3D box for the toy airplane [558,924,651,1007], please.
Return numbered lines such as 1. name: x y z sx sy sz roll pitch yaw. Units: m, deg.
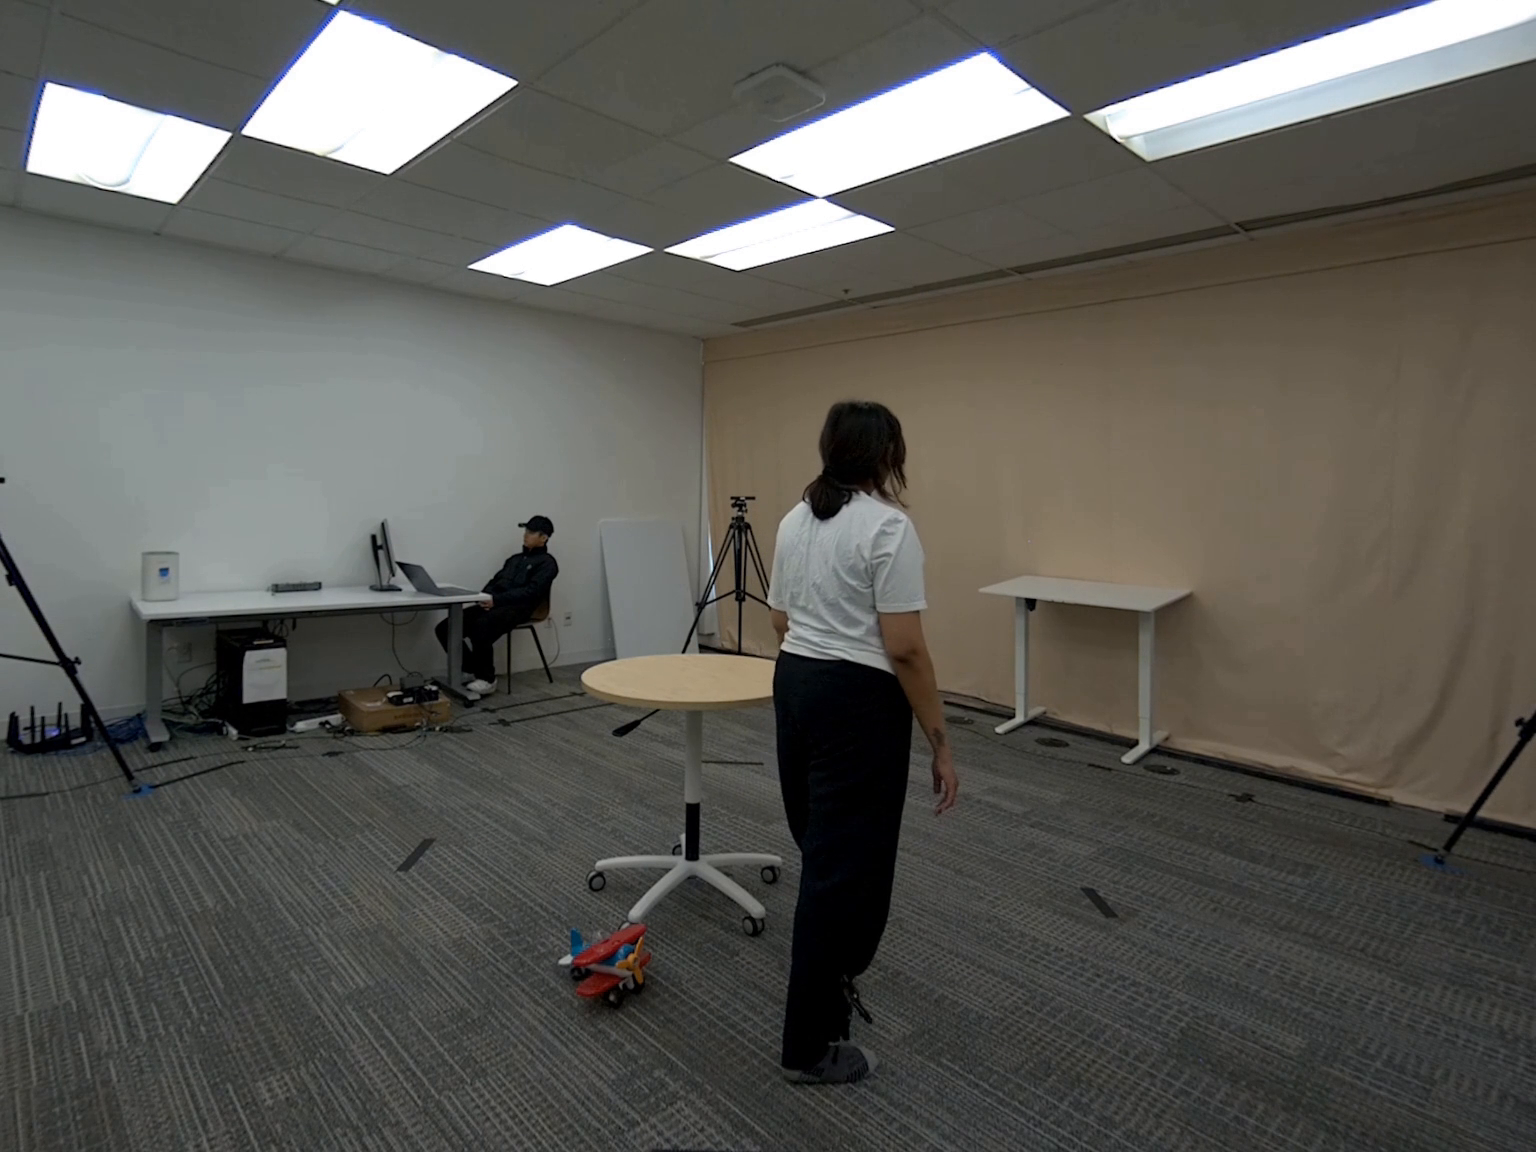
1. toy airplane: -0.472 1.082 2.361 0.261 0.156 0.250 2 5 8
